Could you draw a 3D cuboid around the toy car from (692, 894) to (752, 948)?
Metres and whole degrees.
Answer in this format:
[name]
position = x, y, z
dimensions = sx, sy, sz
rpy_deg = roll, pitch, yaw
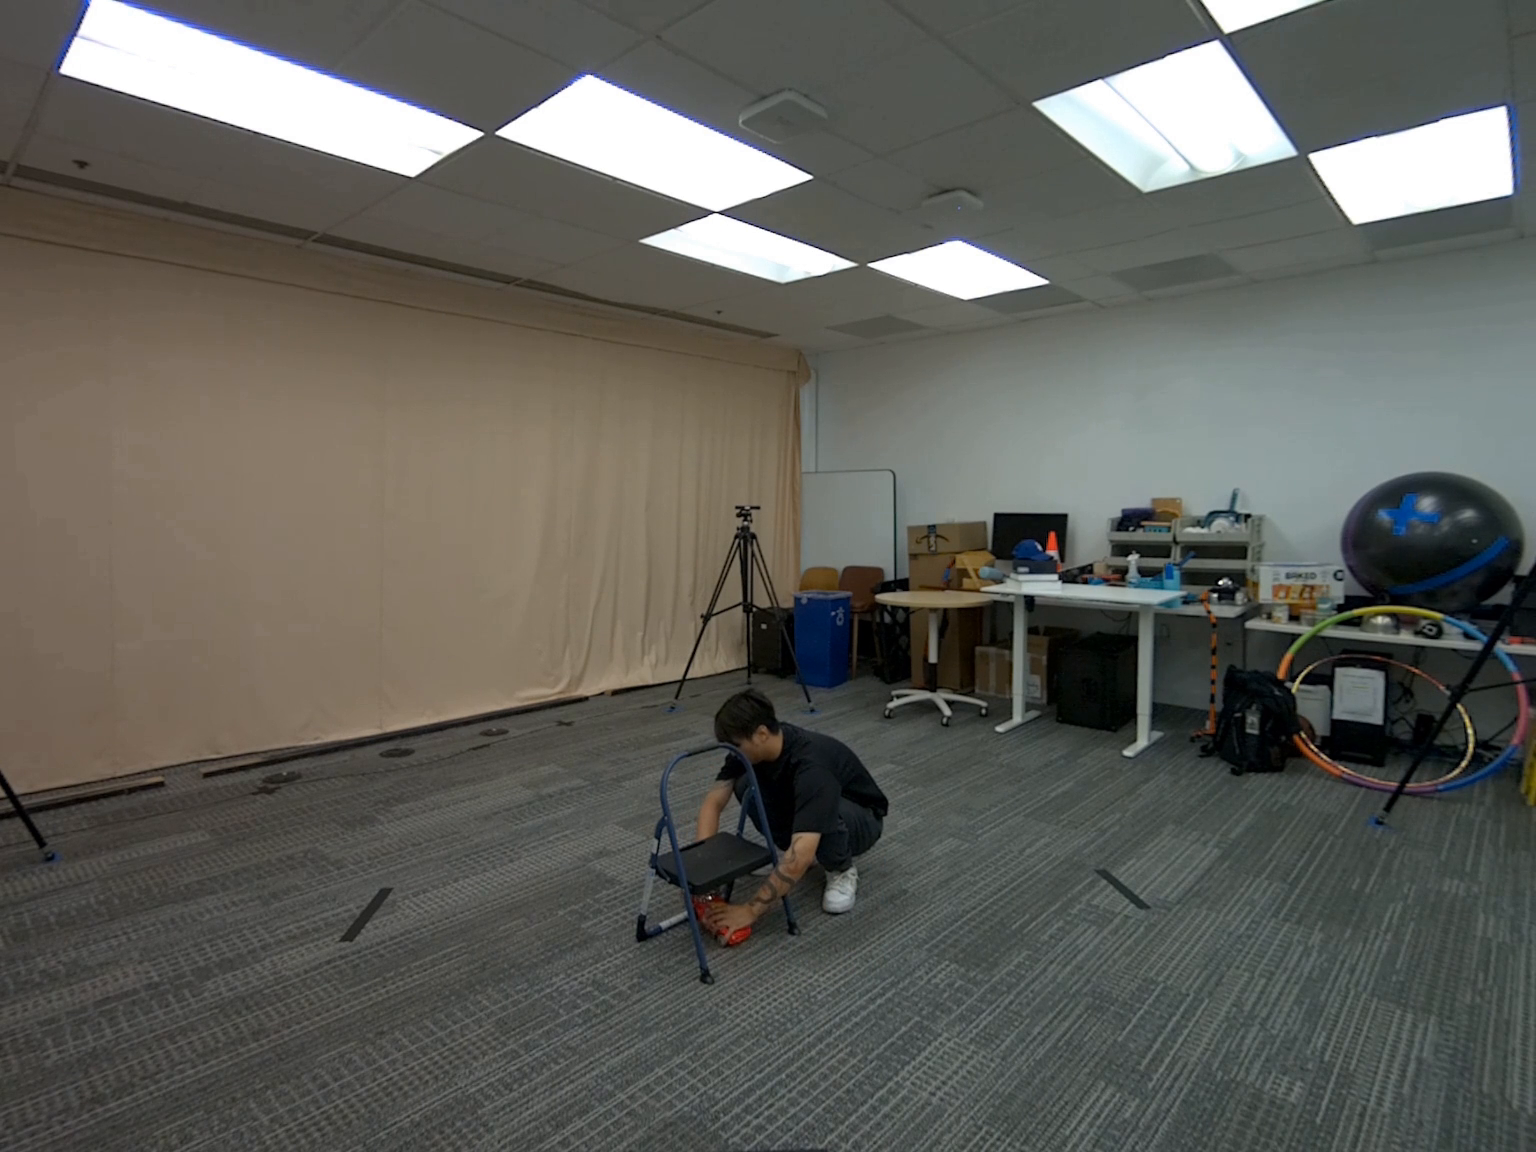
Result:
[toy car]
position = -0.172, 1.120, 2.754
dimensions = 0.126, 0.082, 0.264
rpy_deg = -6, 30, -43
